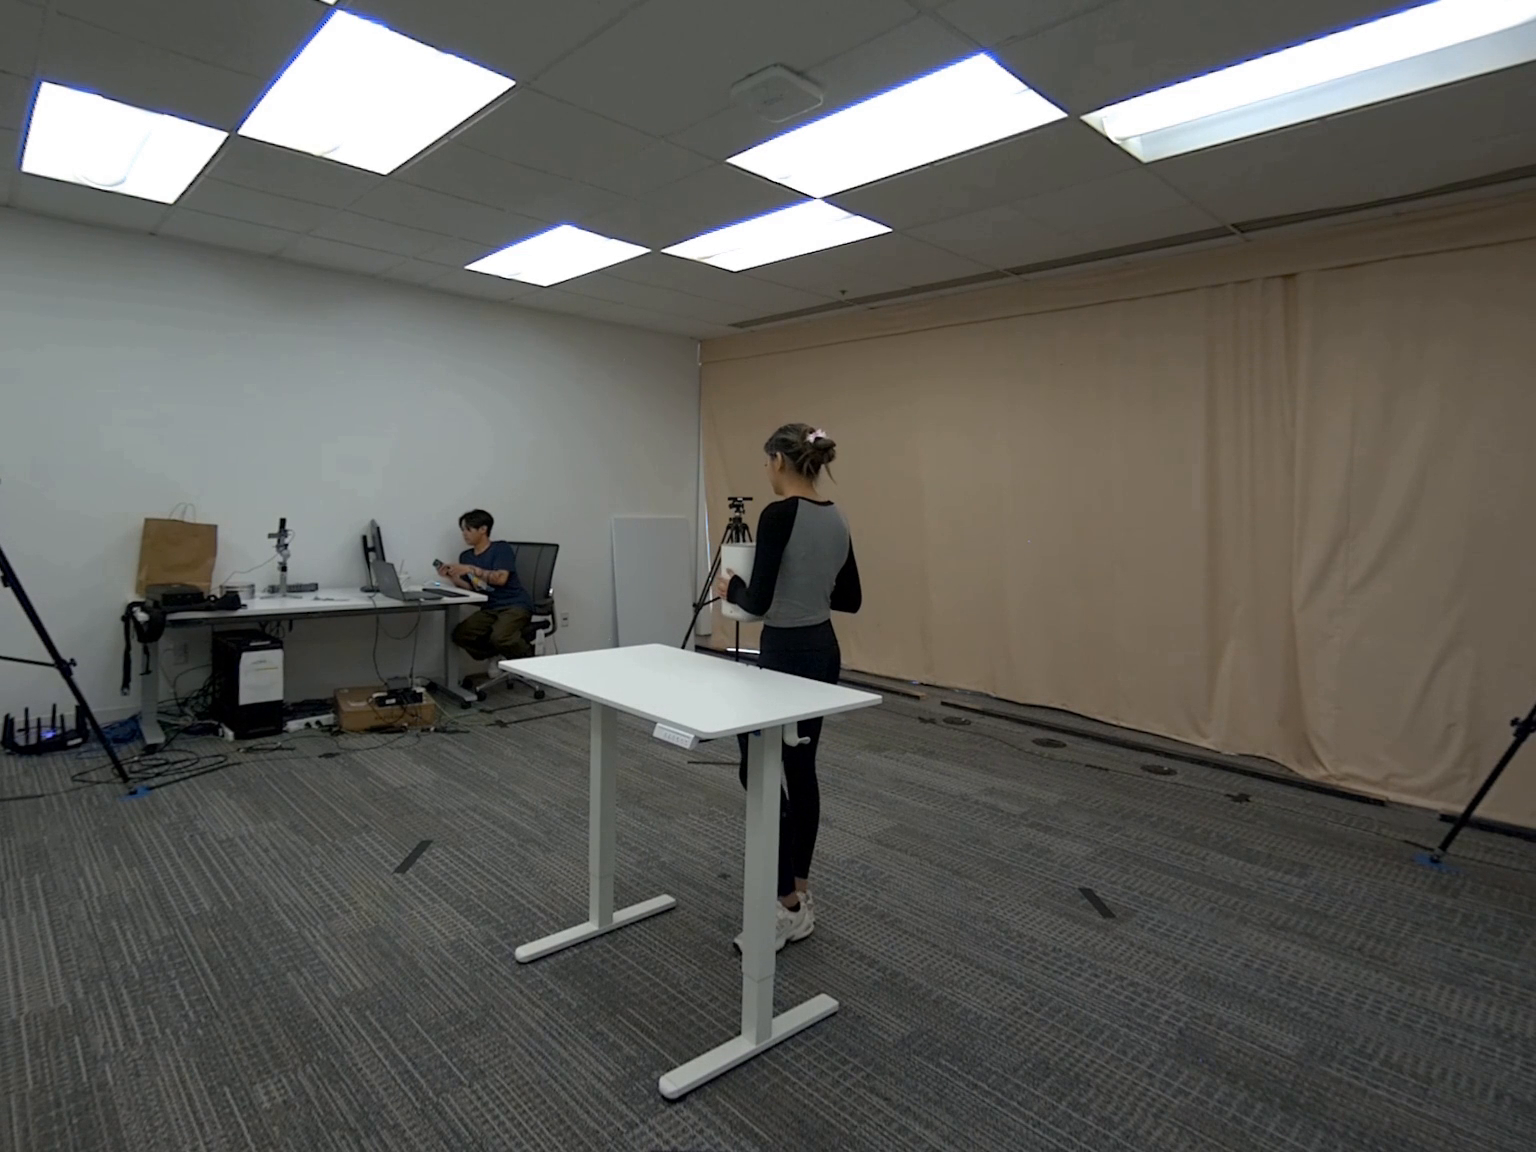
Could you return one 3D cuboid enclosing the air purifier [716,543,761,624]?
[{"bbox_3d":[-0.065,0.020,2.945,0.175,0.265,0.168,2,4,35],"label":"air purifier"}]
